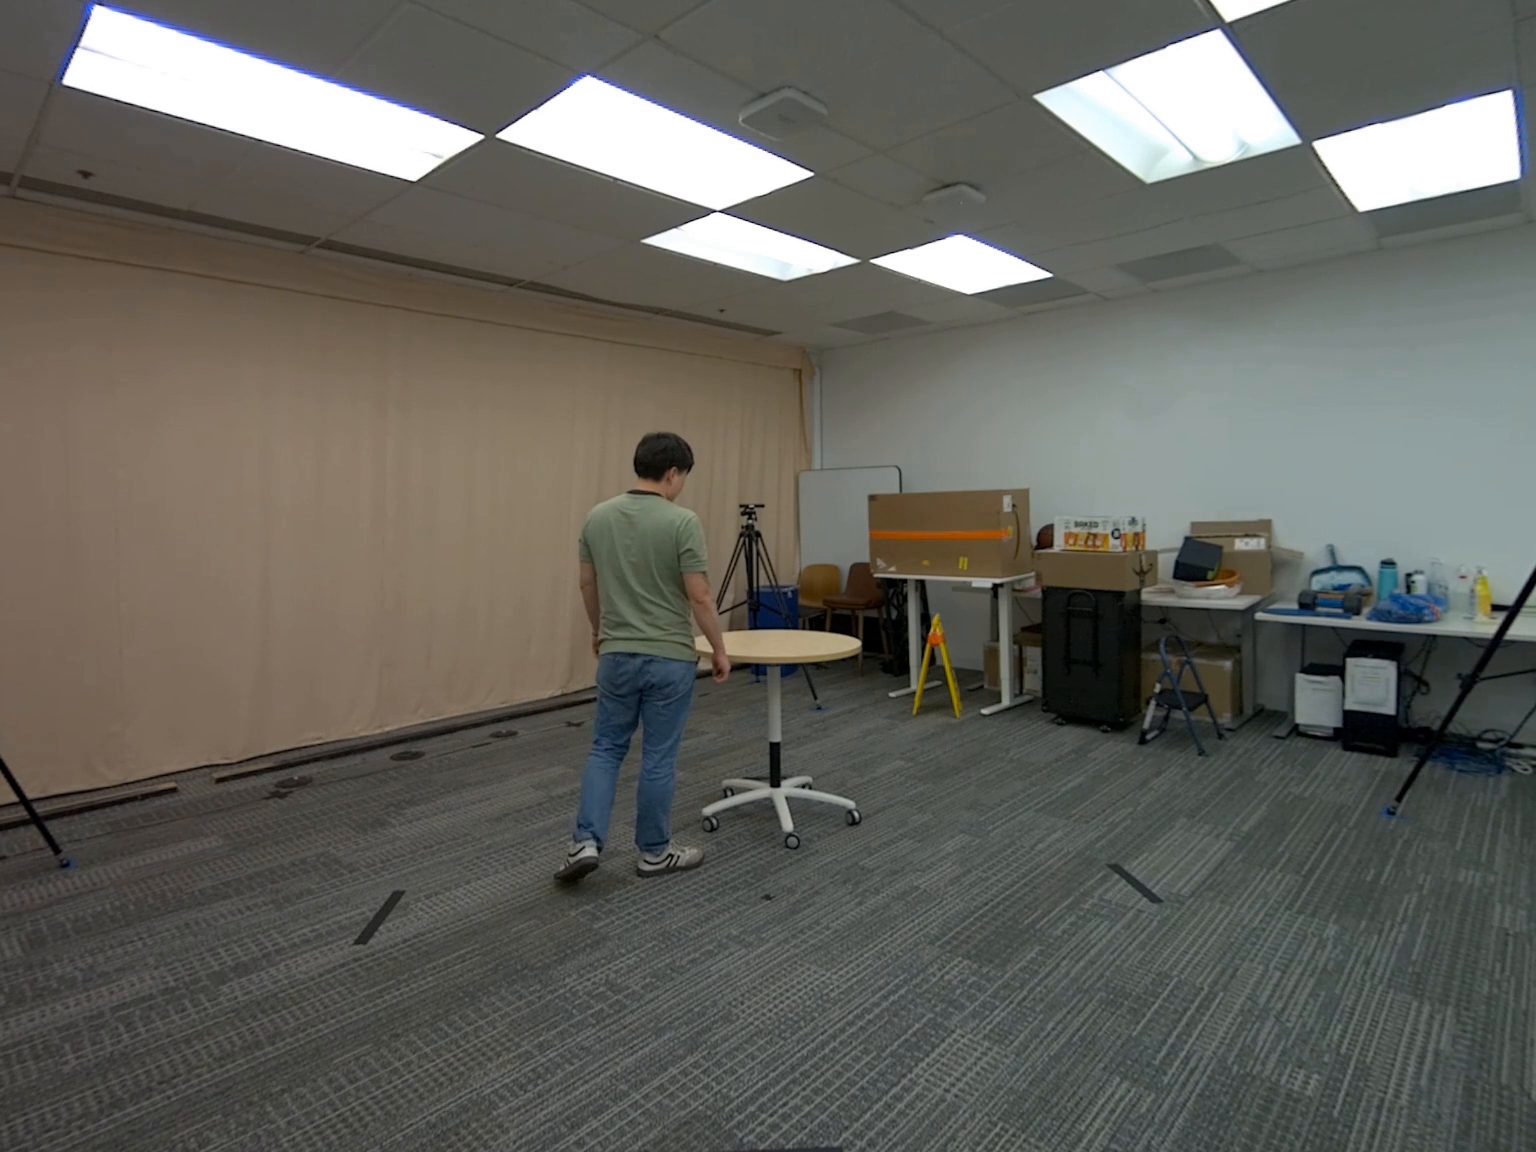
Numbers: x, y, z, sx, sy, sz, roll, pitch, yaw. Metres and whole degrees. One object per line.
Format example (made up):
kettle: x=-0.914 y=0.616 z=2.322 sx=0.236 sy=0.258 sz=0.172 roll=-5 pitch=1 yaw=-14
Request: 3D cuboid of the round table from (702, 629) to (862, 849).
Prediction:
round table: x=0.029 y=0.685 z=3.725 sx=0.763 sy=0.793 sz=0.766 roll=-1 pitch=3 yaw=-2
